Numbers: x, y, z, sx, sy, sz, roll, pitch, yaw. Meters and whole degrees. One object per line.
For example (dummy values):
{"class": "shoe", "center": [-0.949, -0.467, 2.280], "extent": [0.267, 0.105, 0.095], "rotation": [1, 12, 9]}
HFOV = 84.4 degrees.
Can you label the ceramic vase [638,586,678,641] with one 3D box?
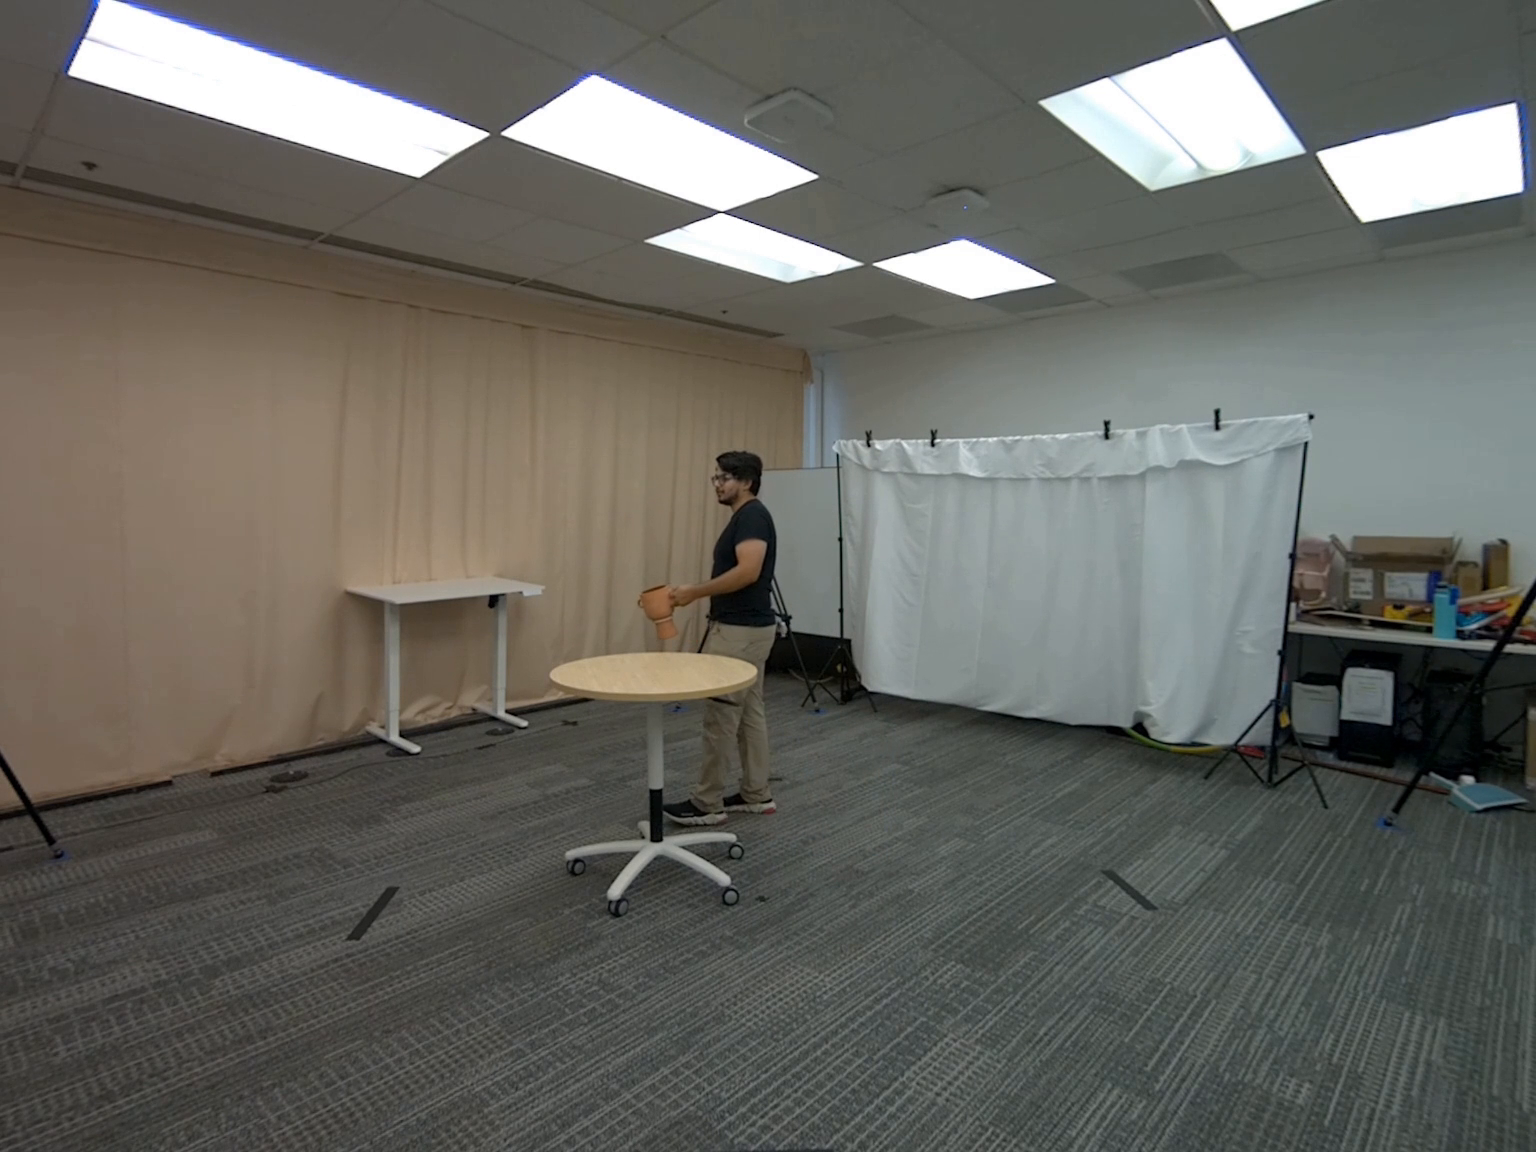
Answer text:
{"class": "ceramic vase", "center": [-0.477, 0.165, 3.717], "extent": [0.132, 0.218, 0.163], "rotation": [-20, 9, -27]}
